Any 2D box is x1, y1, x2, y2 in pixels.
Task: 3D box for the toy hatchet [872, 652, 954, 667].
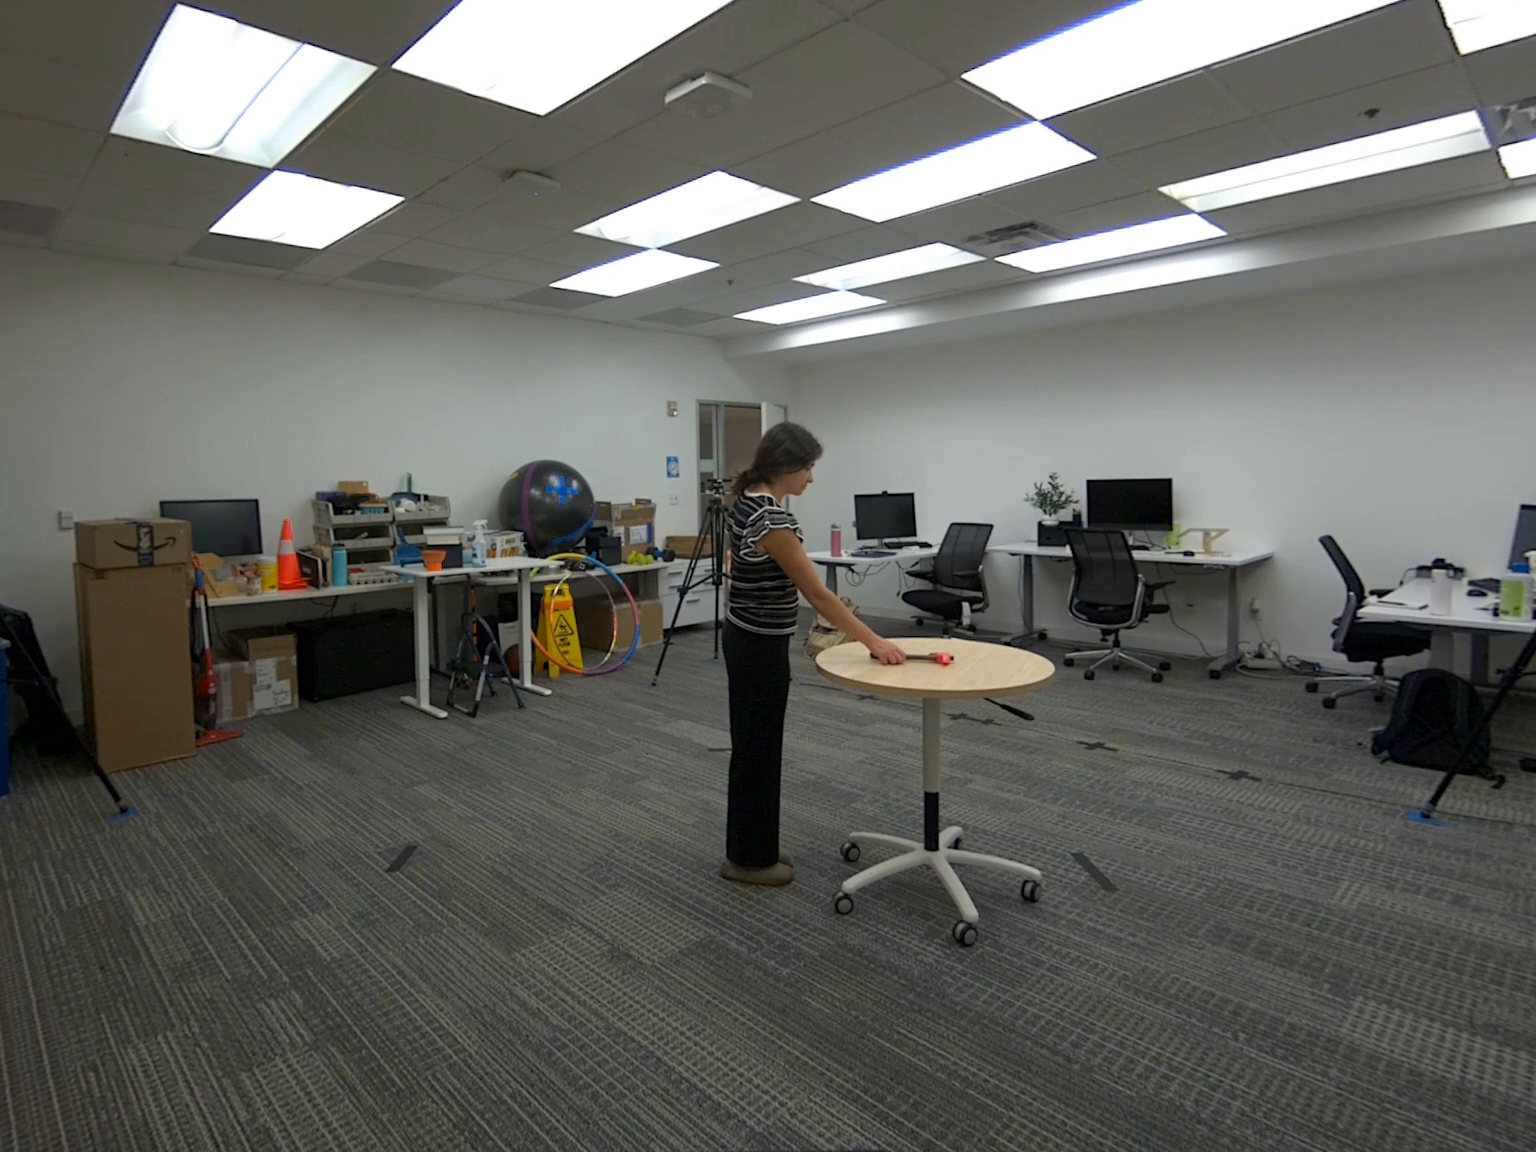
[{"bbox_3d":[0.487,0.266,2.853,0.277,0.029,0.128,2,8,33],"label":"toy hatchet"}]
